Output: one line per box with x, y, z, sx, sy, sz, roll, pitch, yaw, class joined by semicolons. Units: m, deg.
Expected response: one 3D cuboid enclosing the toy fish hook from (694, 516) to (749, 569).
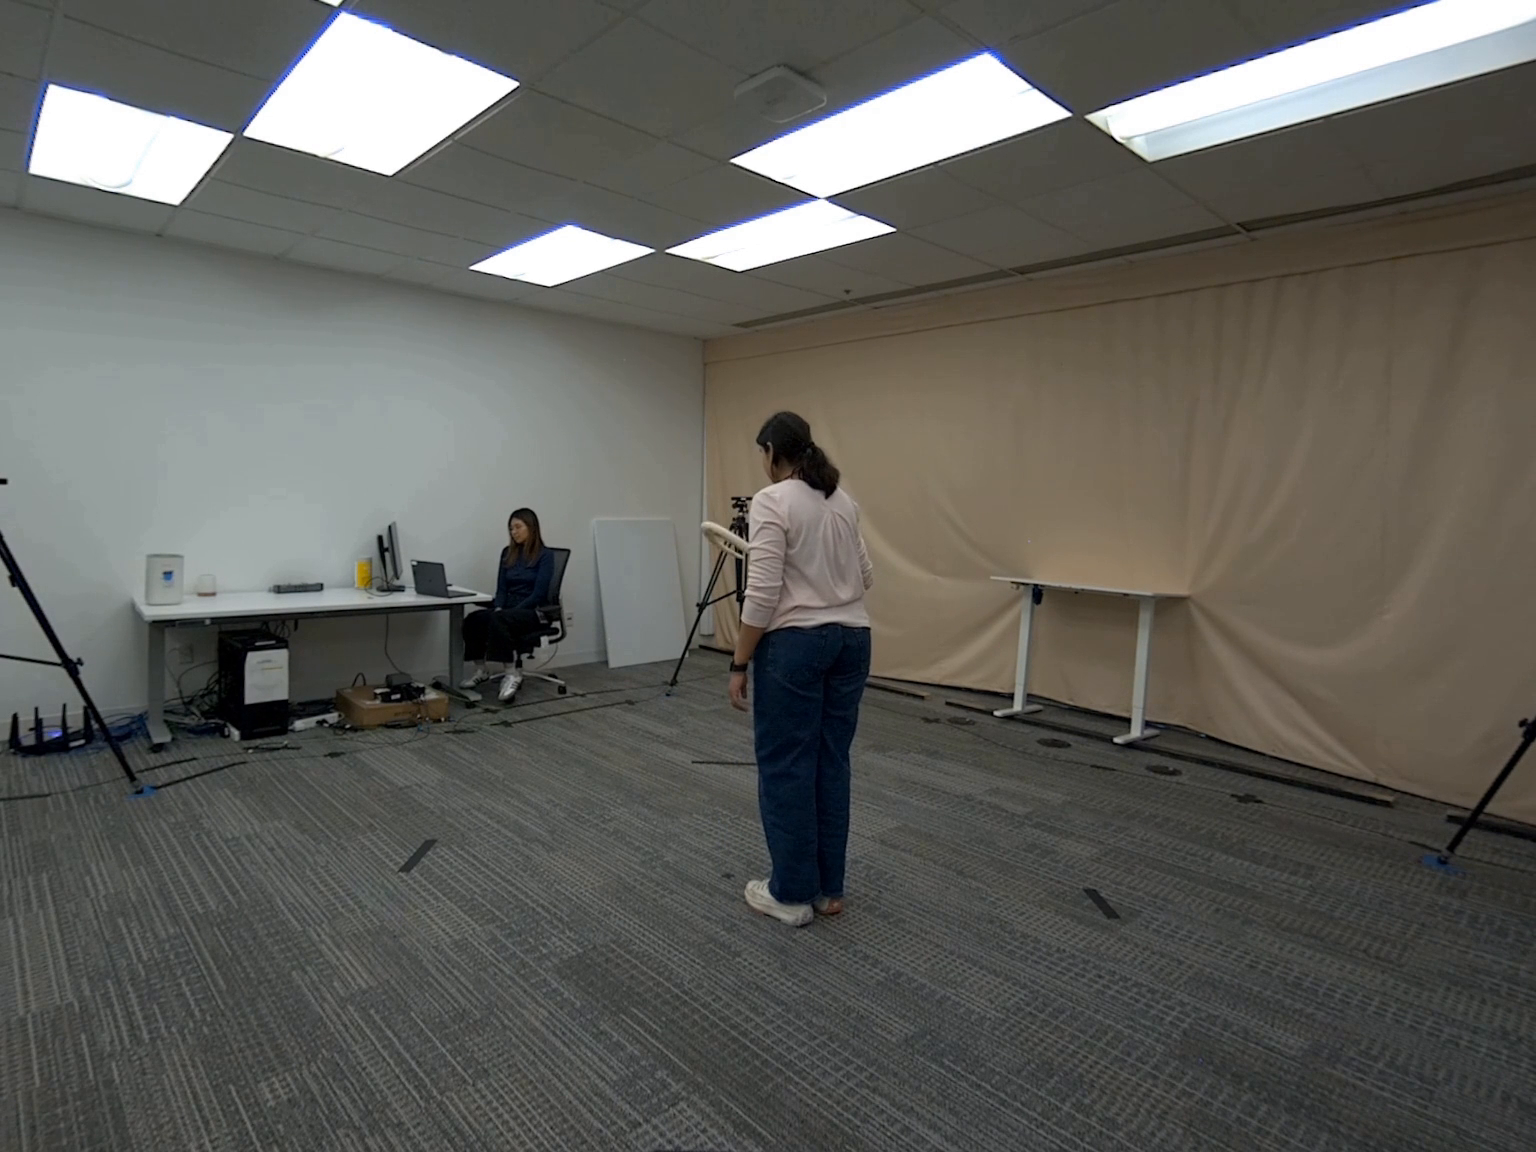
-0.053;-0.062;3.363;0.516;0.048;0.220;30;-12;17;toy fish hook
